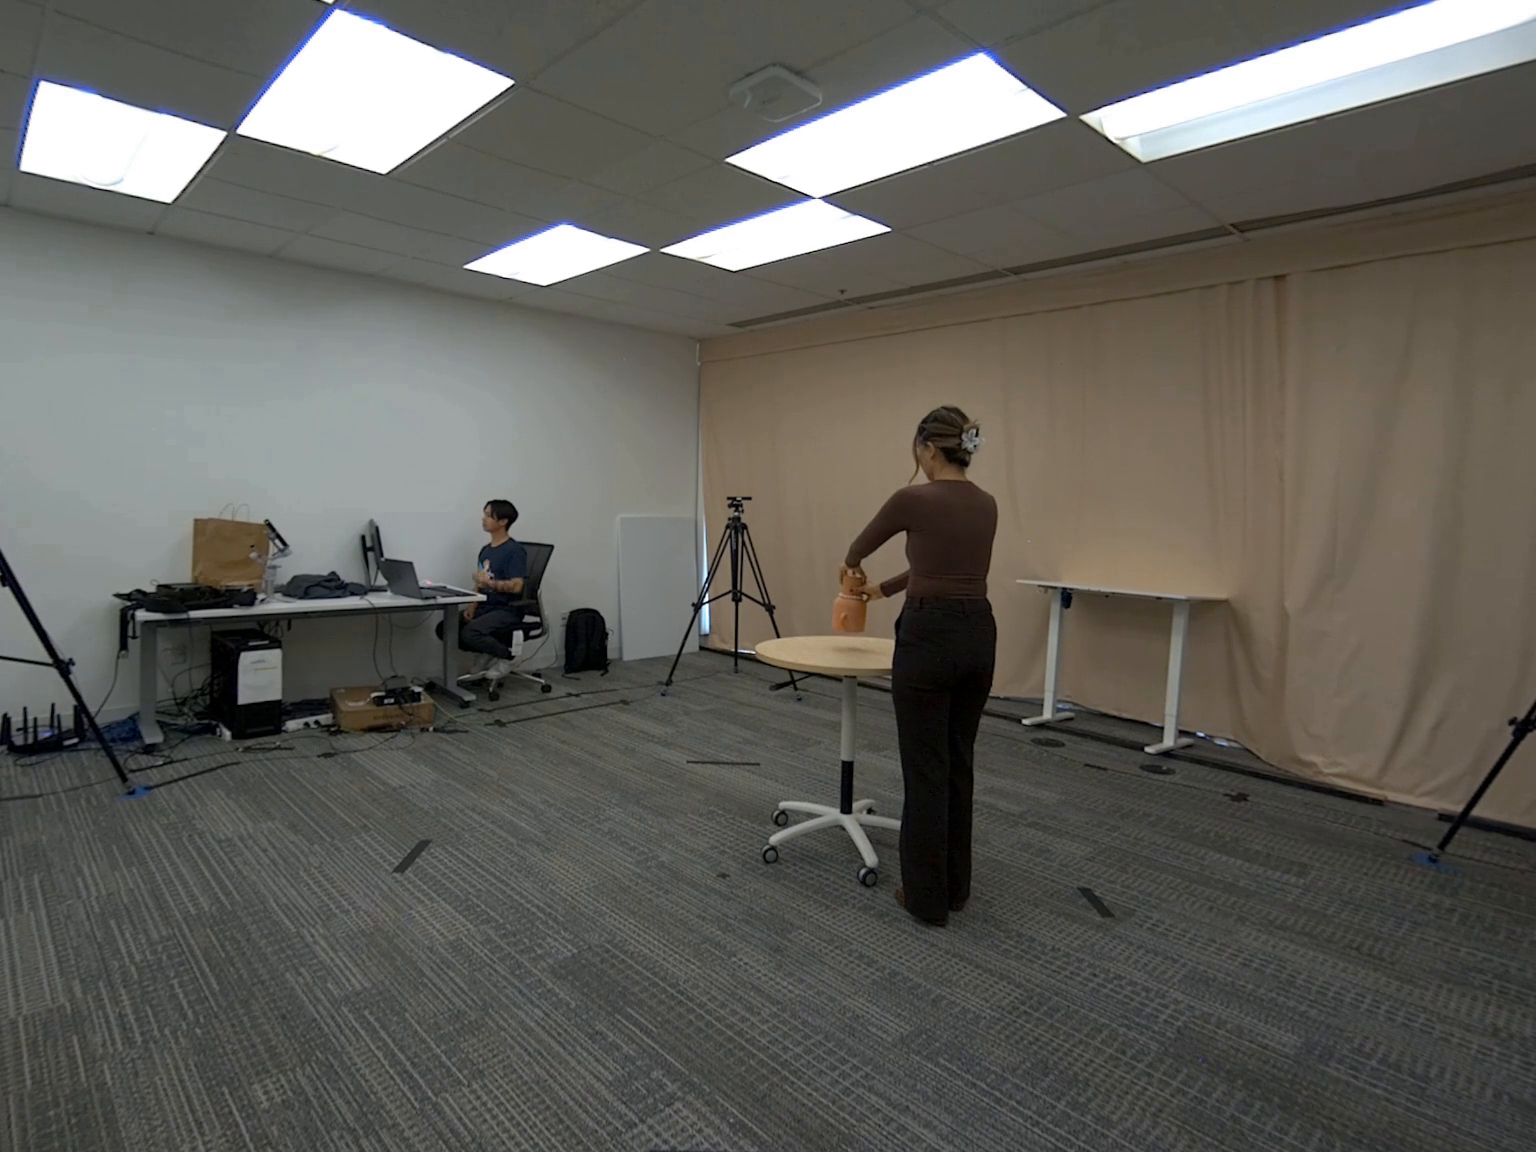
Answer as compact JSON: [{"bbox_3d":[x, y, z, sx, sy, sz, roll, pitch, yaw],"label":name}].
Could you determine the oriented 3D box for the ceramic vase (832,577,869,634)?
[{"bbox_3d":[0.323,0.107,3.366,0.133,0.219,0.162,5,6,-18],"label":"ceramic vase"}]
